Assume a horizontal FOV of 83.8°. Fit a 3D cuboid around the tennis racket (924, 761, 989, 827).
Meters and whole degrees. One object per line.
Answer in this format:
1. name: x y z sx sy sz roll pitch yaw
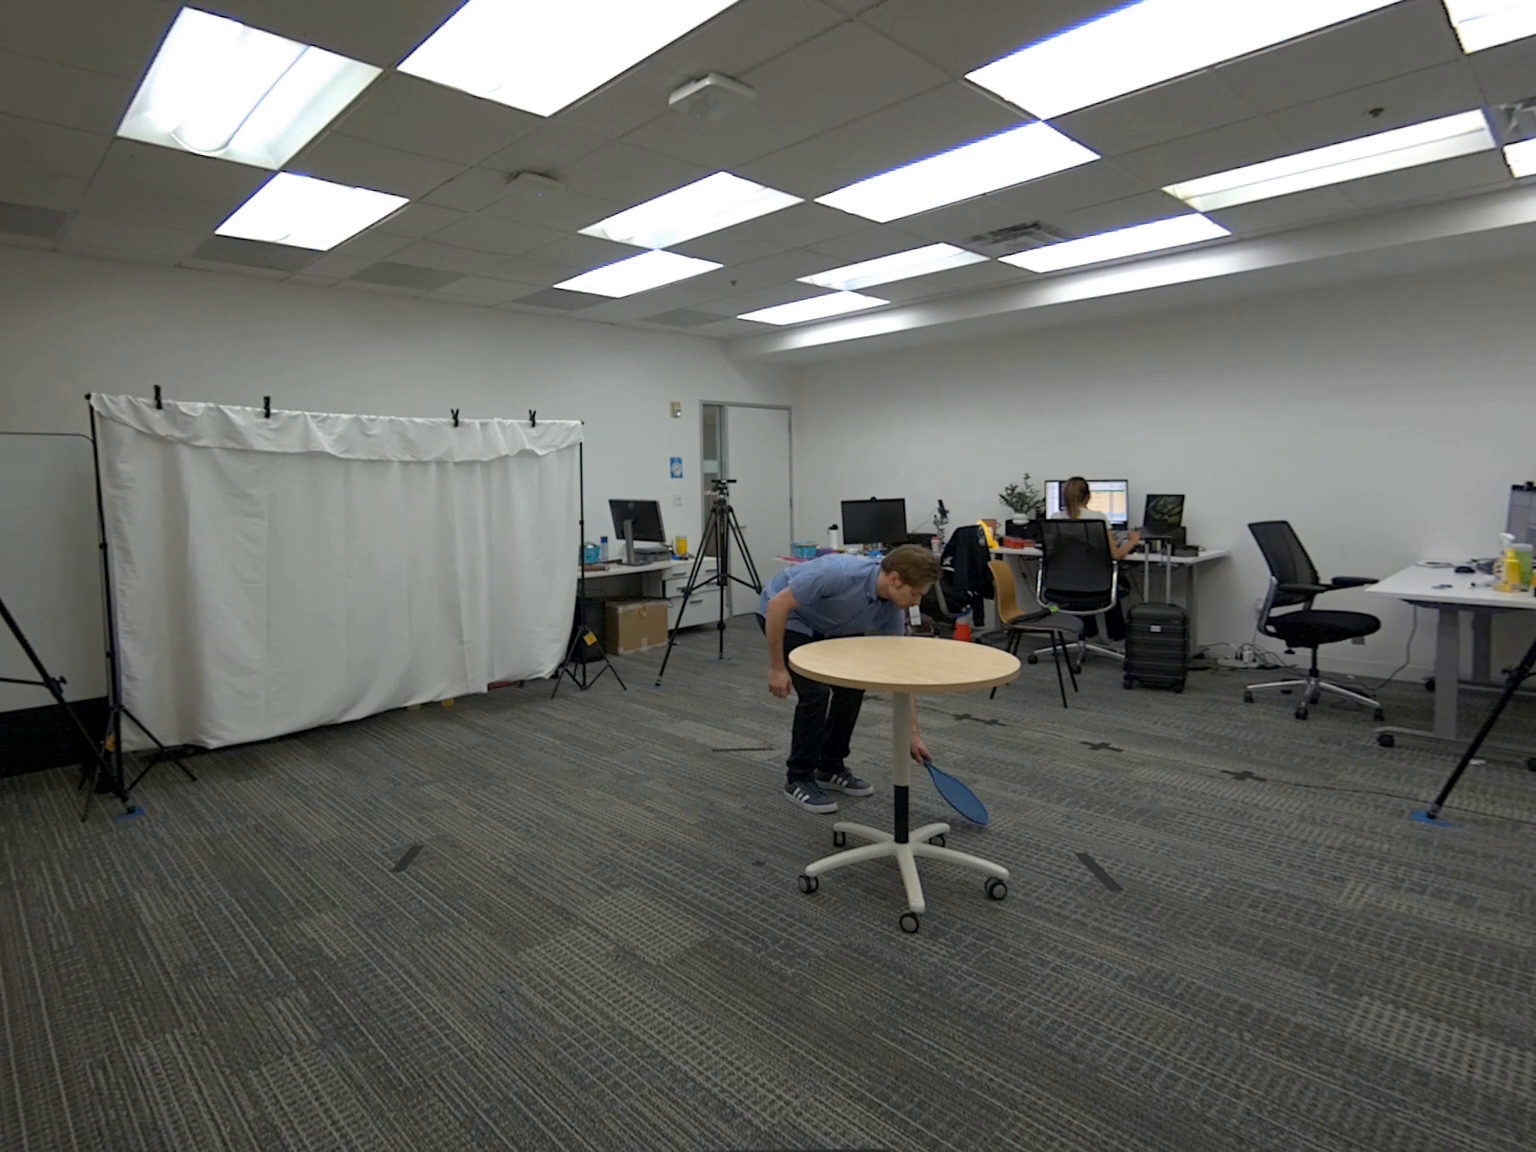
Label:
1. tennis racket: 0.721 0.835 3.489 0.207 0.031 0.449 5 31 -49
